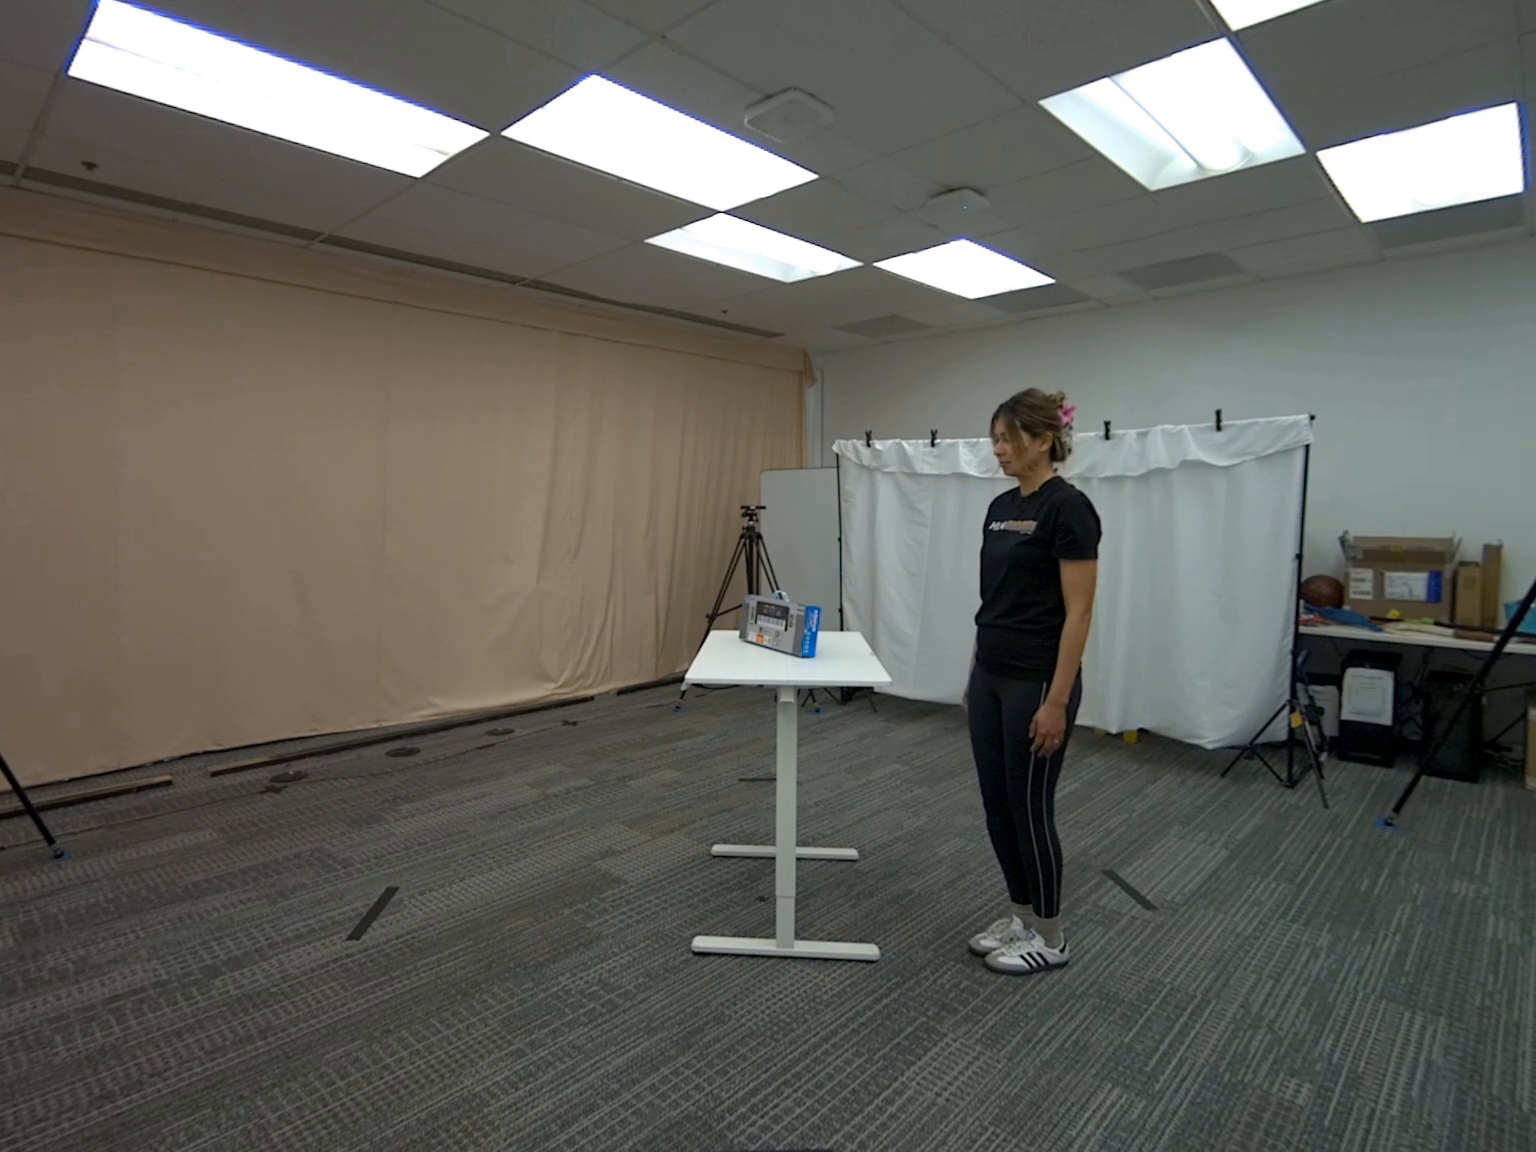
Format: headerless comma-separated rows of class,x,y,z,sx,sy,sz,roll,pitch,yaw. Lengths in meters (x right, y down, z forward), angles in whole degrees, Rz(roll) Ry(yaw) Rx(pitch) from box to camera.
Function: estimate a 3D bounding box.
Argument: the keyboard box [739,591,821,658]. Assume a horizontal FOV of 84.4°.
keyboard box,0.037,0.172,2.998,0.057,0.176,0.449,7,0,-30
